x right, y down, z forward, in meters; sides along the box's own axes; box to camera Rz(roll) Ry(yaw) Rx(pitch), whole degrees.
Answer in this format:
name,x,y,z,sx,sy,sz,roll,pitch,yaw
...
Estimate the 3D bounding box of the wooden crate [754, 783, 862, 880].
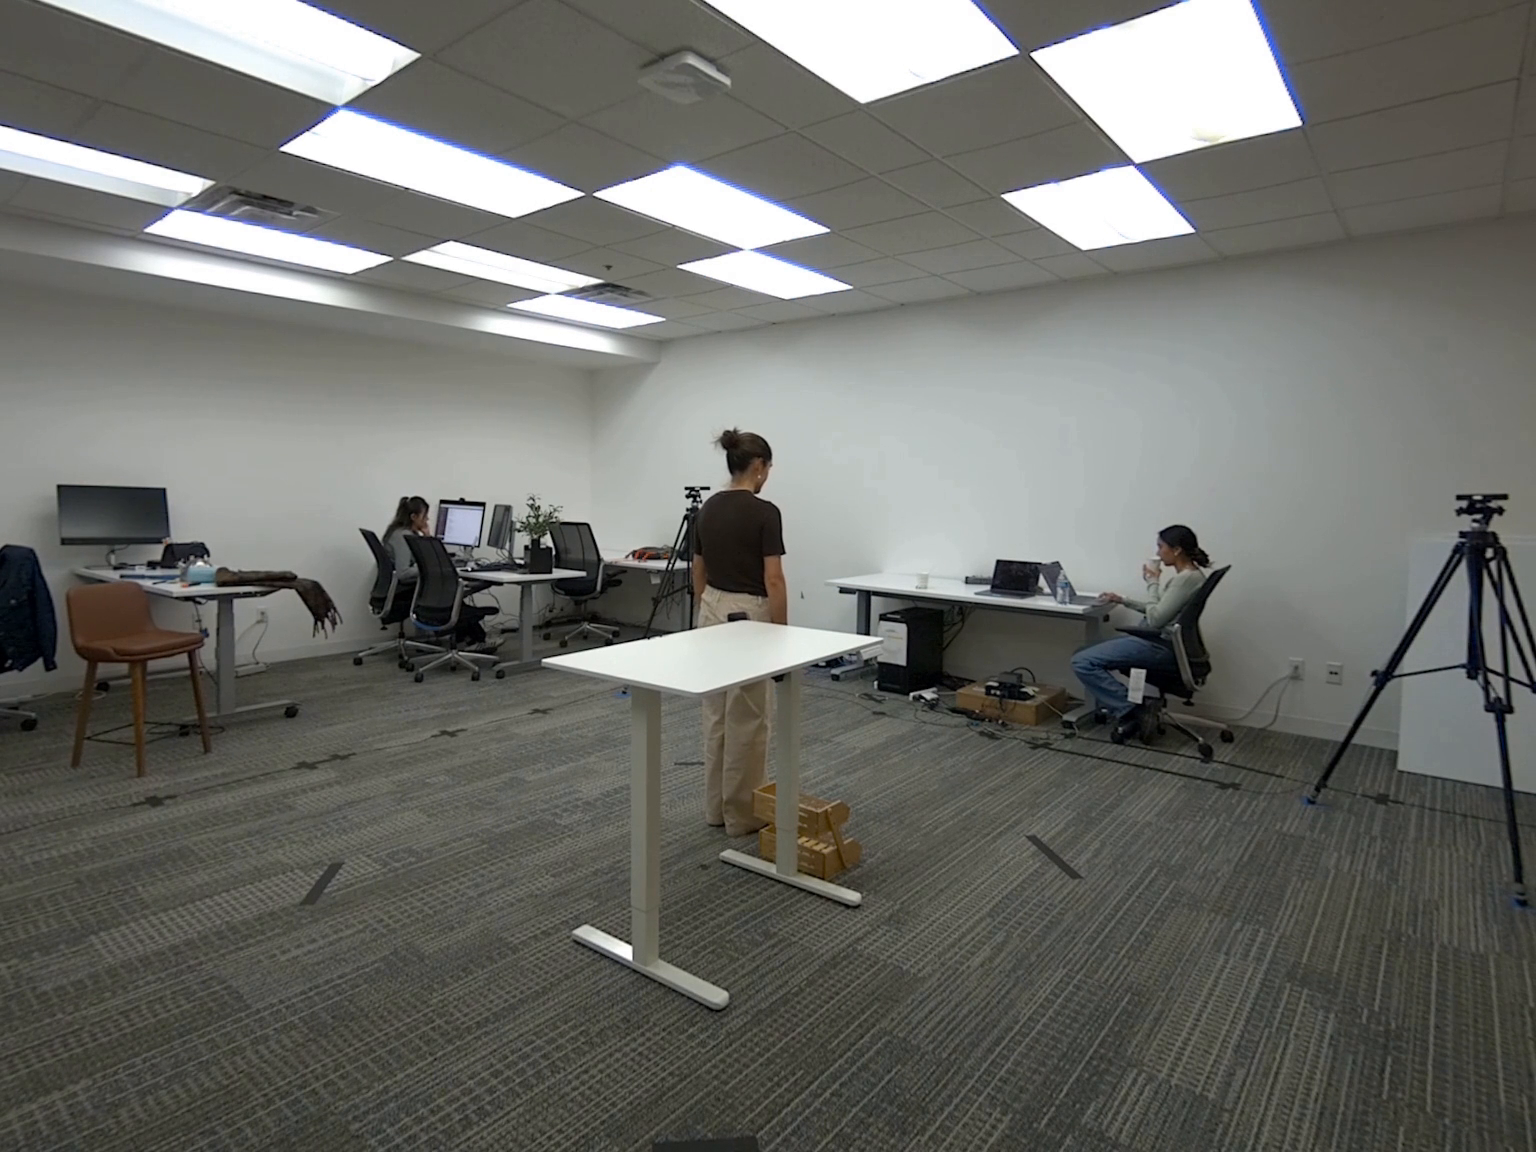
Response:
name,x,y,z,sx,sy,sz,roll,pitch,yaw
wooden crate,0.138,0.929,3.199,0.335,0.272,0.293,5,6,38
